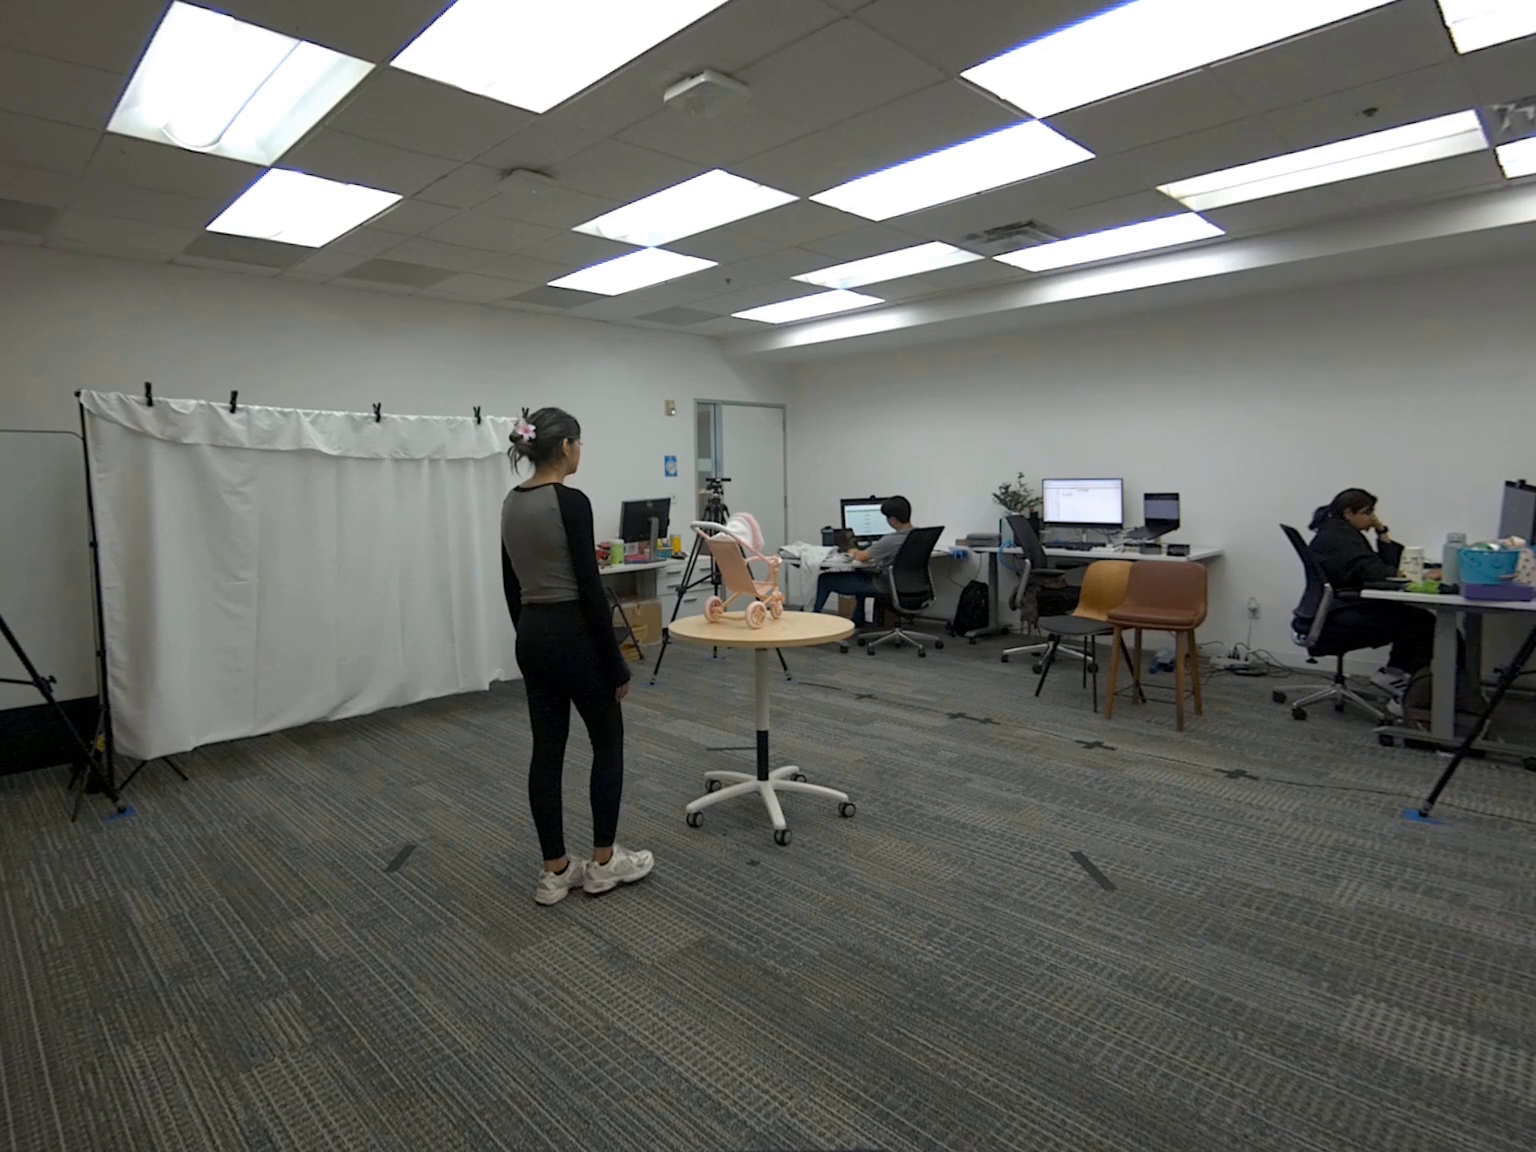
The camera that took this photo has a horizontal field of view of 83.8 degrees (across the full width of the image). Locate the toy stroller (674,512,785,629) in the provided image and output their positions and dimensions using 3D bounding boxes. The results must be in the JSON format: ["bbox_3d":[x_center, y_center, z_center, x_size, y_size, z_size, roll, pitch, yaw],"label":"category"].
[{"bbox_3d":[-0.097,-0.022,3.548,0.336,0.527,0.290,-24,18,-38],"label":"toy stroller"}]
